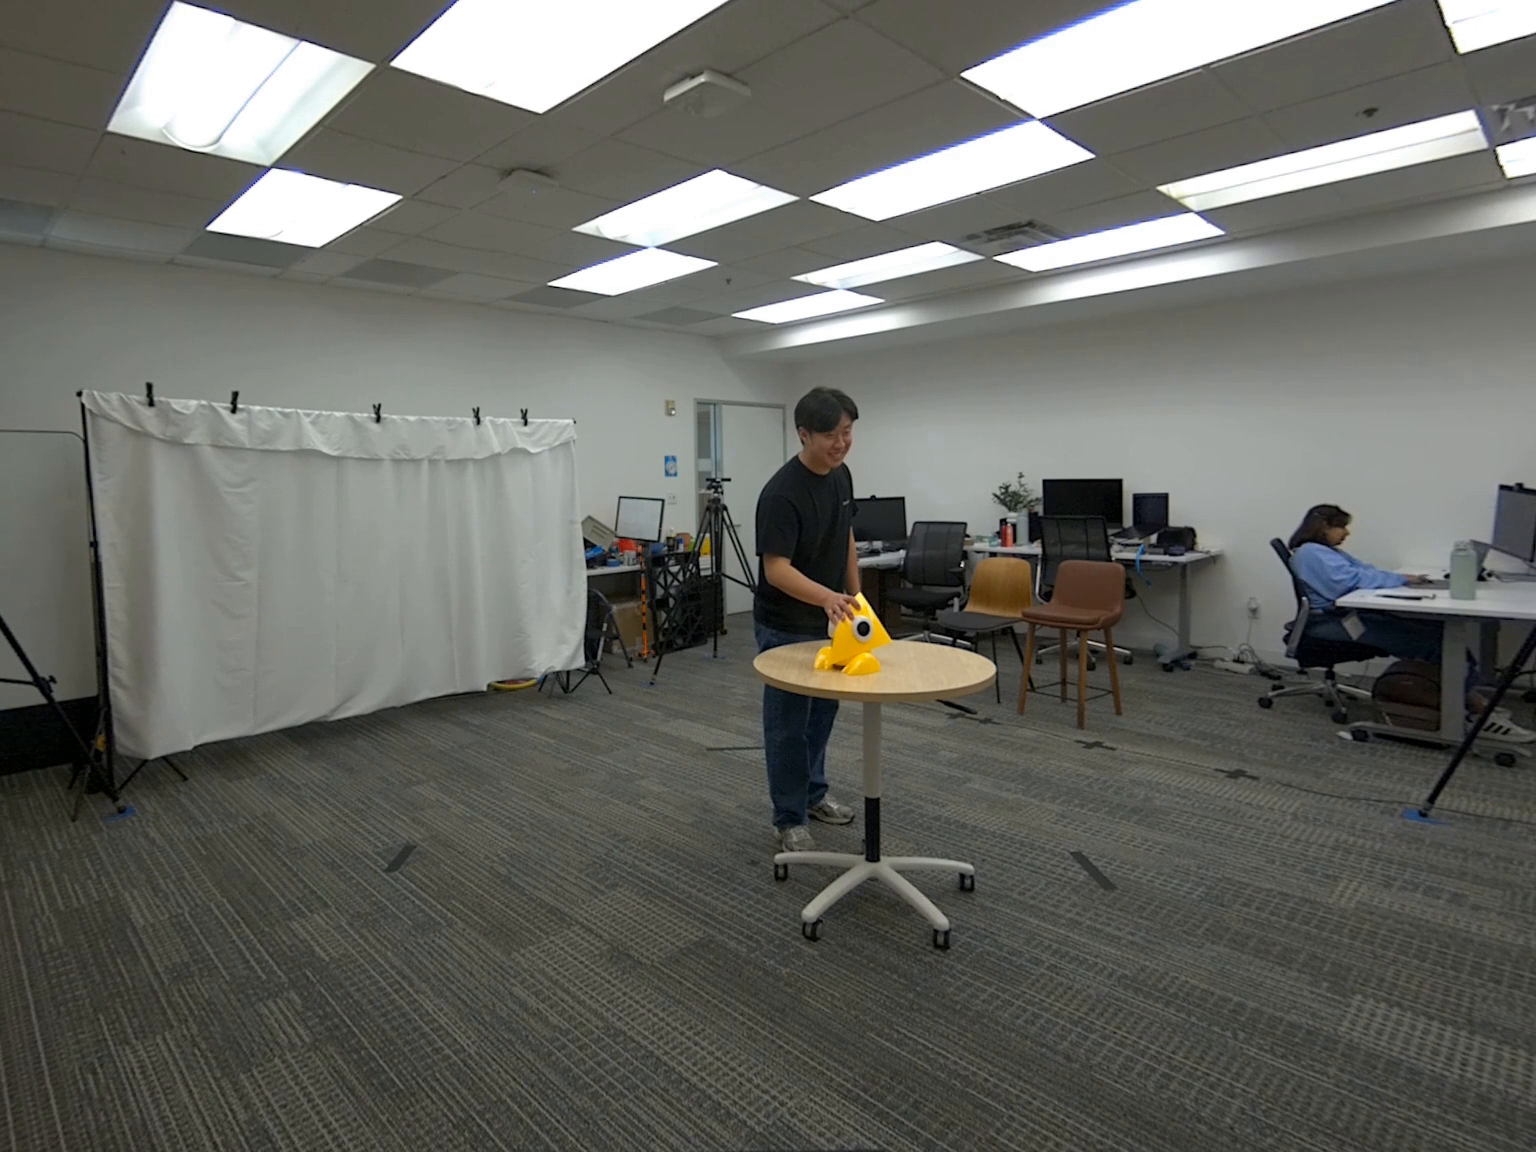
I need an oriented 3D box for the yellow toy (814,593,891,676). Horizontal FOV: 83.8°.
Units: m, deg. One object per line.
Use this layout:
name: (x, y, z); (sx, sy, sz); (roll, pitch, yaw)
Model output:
yellow toy: (0.259, 0.178, 2.691); (0.211, 0.230, 0.188); (5, 7, 43)
